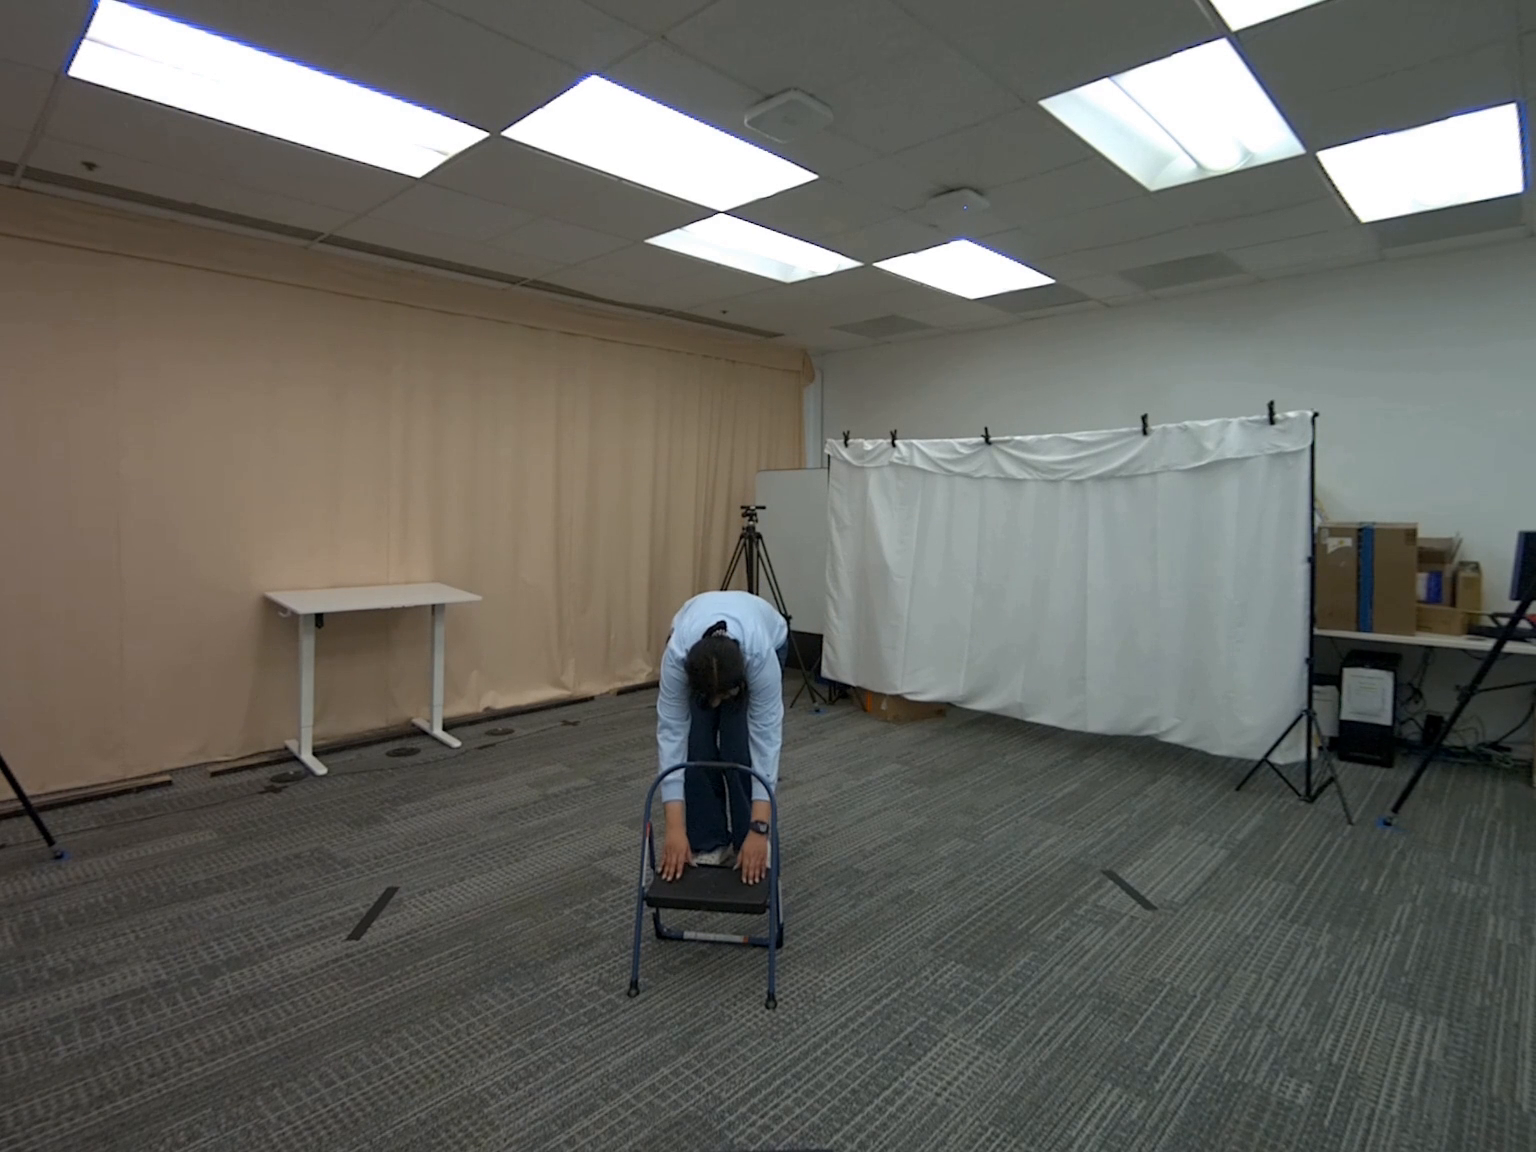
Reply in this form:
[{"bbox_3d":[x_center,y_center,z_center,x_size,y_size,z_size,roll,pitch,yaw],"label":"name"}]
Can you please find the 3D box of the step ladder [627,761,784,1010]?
[{"bbox_3d":[-0.172,0.877,2.520,0.434,0.605,0.347,1,3,7],"label":"step ladder"}]
